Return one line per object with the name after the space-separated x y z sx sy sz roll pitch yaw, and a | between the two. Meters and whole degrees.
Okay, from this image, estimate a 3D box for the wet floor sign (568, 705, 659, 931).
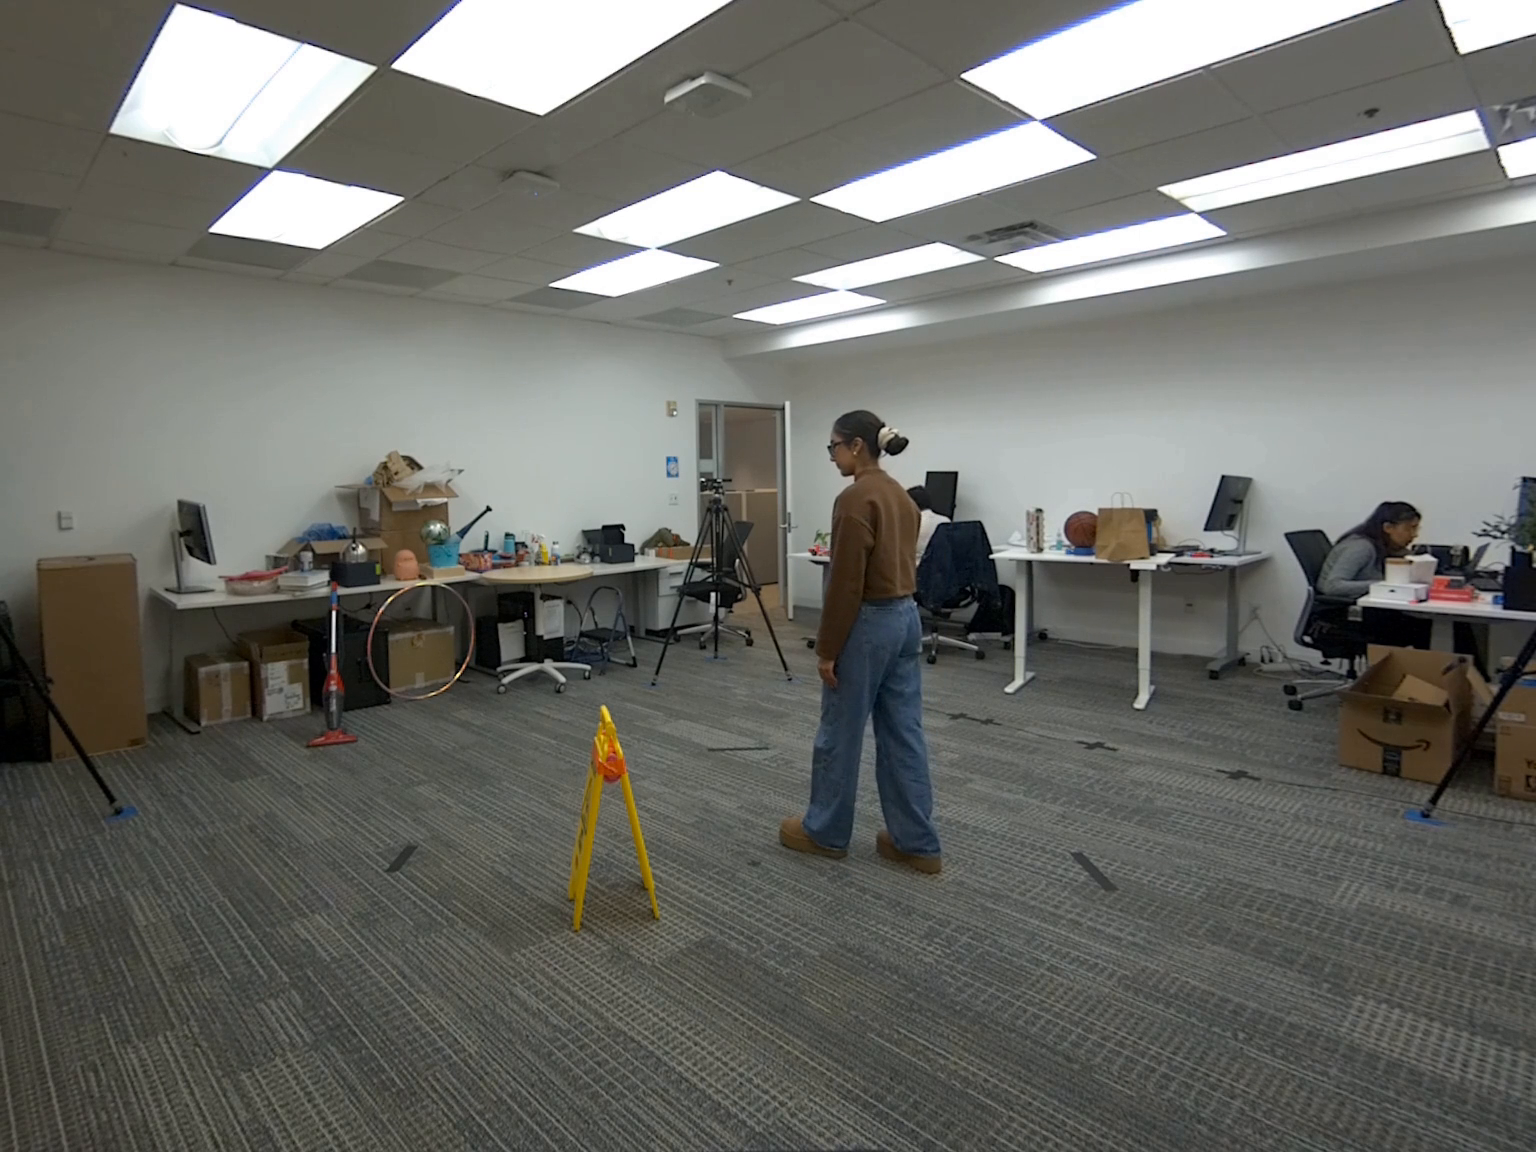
-0.518 0.764 2.801 0.286 0.644 0.287 -2 3 -15 | wet floor sign
